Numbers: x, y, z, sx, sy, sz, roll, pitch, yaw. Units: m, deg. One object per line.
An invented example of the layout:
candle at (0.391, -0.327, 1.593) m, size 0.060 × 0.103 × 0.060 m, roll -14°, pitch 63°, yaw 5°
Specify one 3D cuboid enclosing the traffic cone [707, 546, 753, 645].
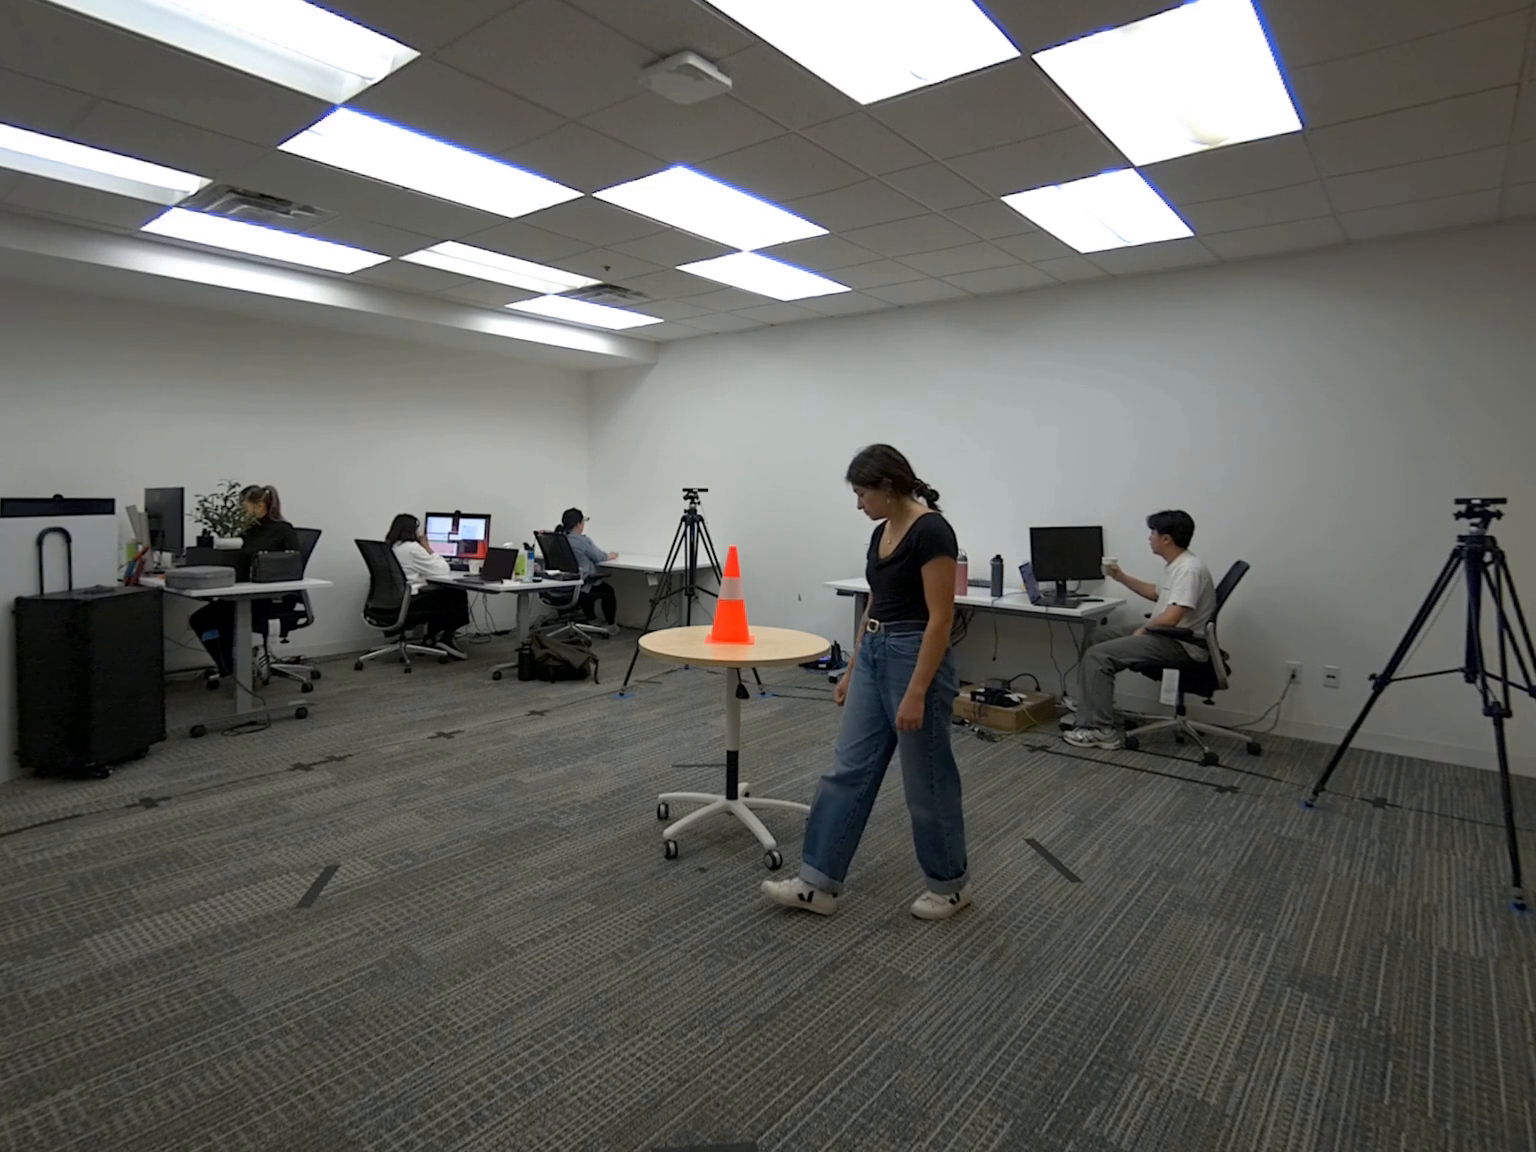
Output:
traffic cone at (-0.145, 0.064, 3.441) m, size 0.205 × 0.382 × 0.204 m, roll 1°, pitch 4°, yaw -2°
